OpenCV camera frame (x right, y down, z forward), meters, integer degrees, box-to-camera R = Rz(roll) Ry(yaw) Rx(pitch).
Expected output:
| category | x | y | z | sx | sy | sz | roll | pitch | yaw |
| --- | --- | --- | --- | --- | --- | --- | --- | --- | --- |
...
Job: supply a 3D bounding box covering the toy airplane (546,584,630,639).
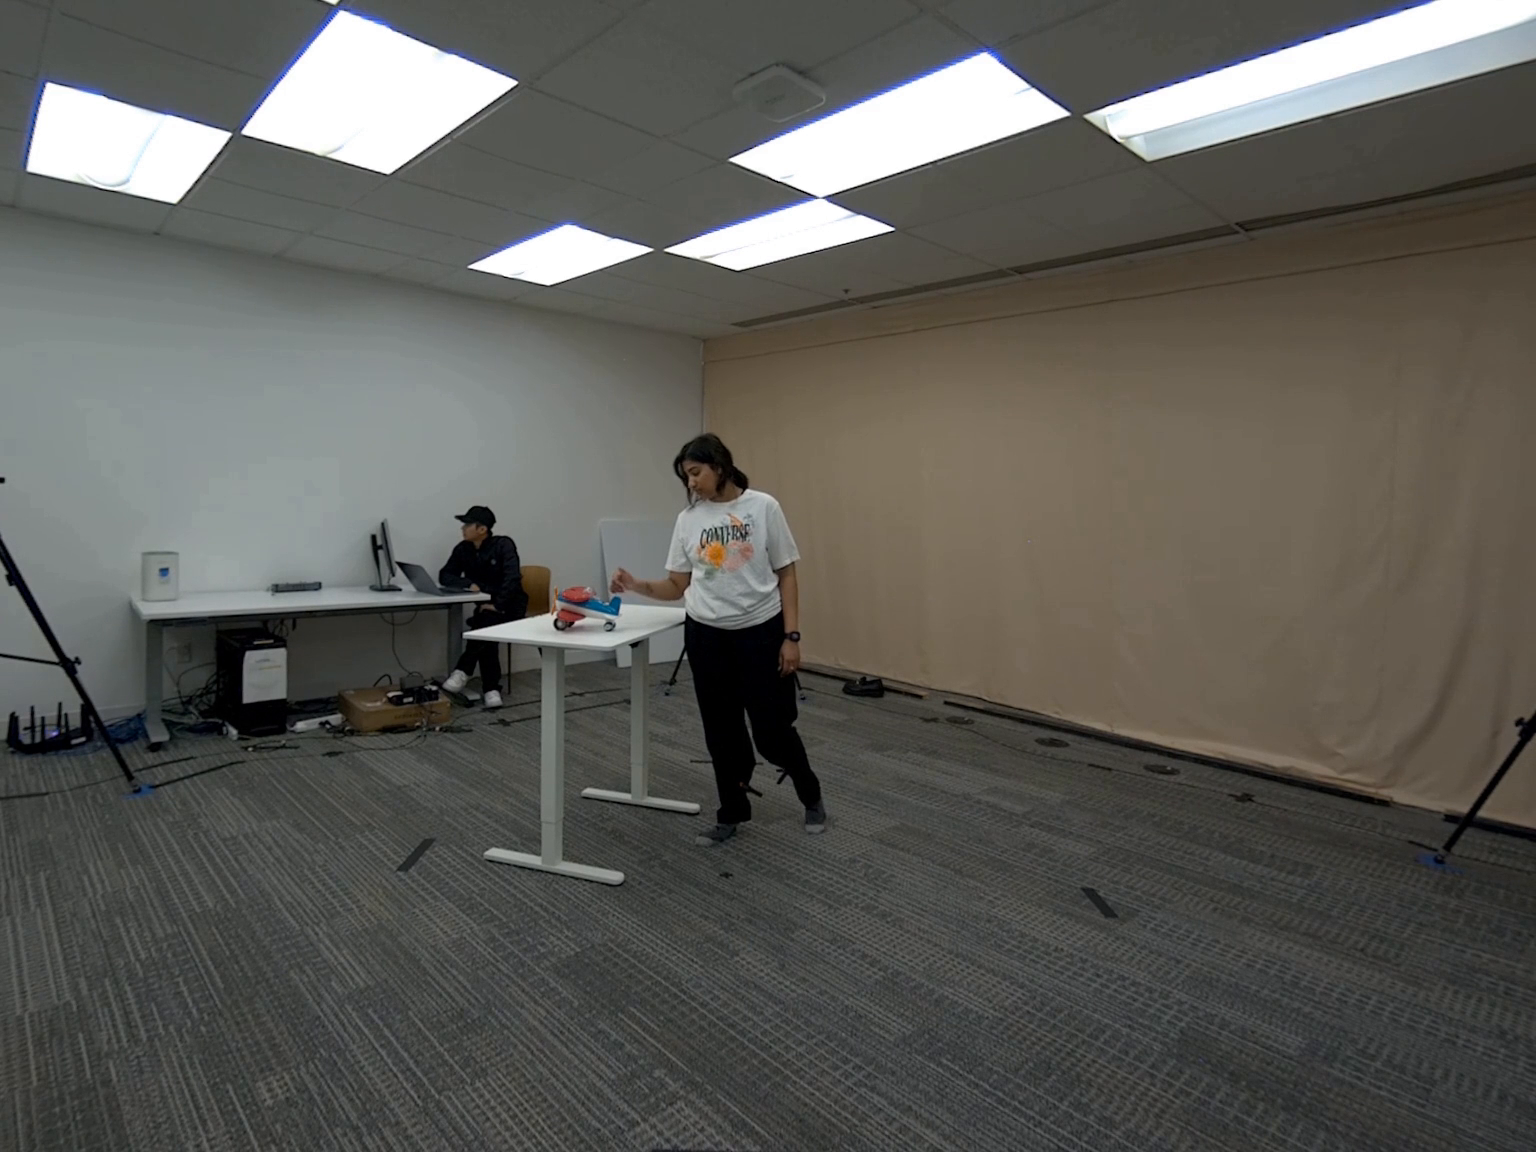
| category | x | y | z | sx | sy | sz | roll | pitch | yaw |
| --- | --- | --- | --- | --- | --- | --- | --- | --- | --- |
| toy airplane | -0.684 | 0.127 | 3.192 | 0.255 | 0.156 | 0.256 | -3 | 5 | -21 |
